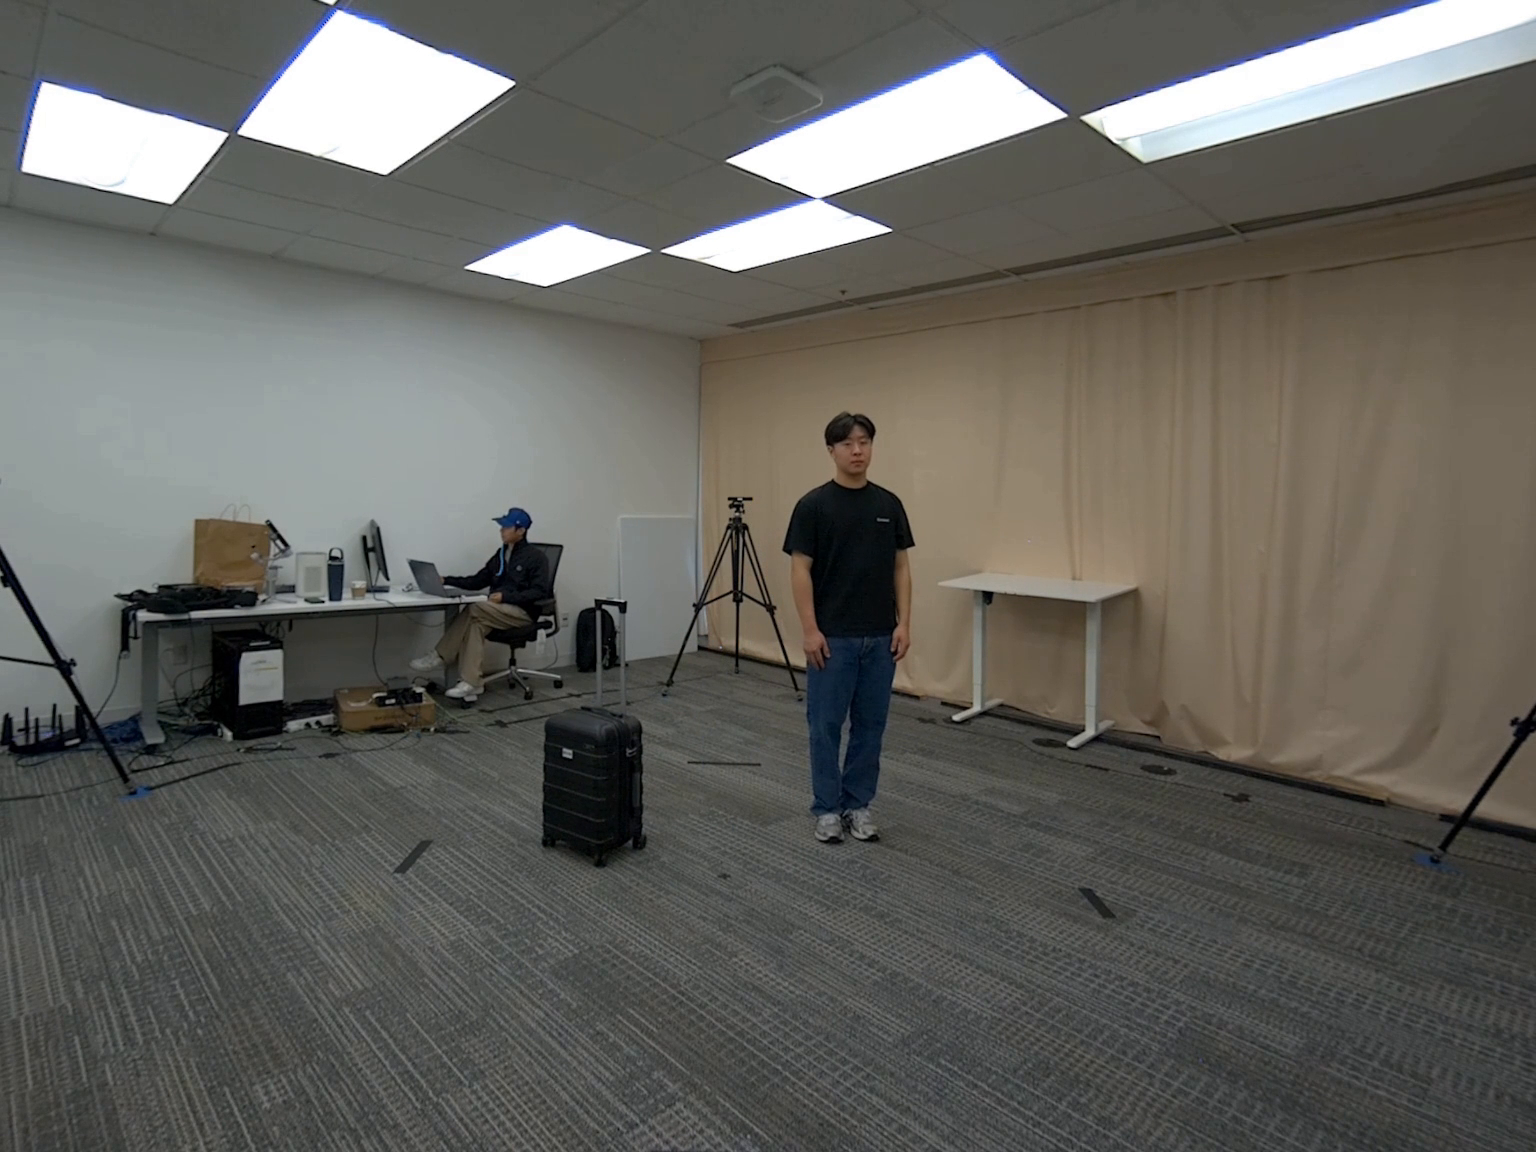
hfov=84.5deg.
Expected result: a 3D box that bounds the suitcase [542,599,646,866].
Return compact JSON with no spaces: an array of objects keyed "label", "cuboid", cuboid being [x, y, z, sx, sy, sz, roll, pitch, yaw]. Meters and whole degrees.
[{"label":"suitcase","cuboid":[-0.695,0.604,3.280,0.393,0.974,0.252,4,8,35]}]
